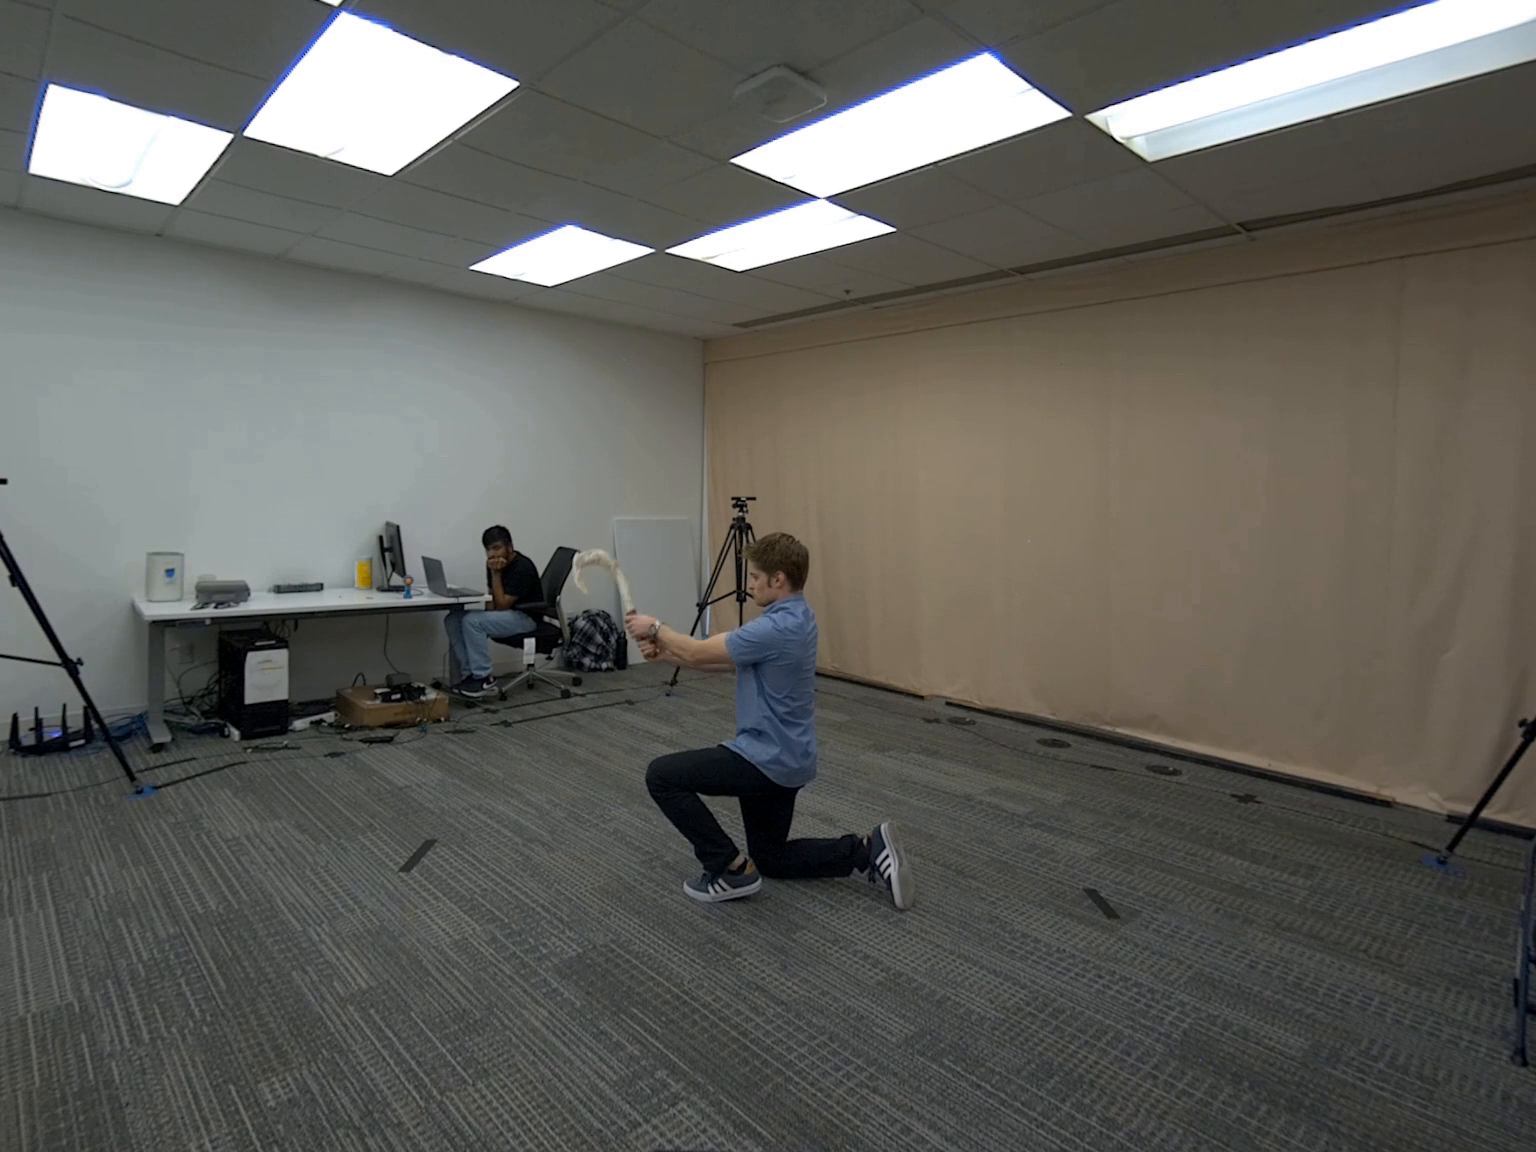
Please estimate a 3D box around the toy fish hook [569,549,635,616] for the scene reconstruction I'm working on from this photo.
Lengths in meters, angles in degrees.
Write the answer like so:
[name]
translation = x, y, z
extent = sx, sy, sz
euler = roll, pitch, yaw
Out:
[toy fish hook]
translation = -0.584, 0.121, 3.242
extent = 0.221, 0.517, 0.048
euler = -16, -25, -37
